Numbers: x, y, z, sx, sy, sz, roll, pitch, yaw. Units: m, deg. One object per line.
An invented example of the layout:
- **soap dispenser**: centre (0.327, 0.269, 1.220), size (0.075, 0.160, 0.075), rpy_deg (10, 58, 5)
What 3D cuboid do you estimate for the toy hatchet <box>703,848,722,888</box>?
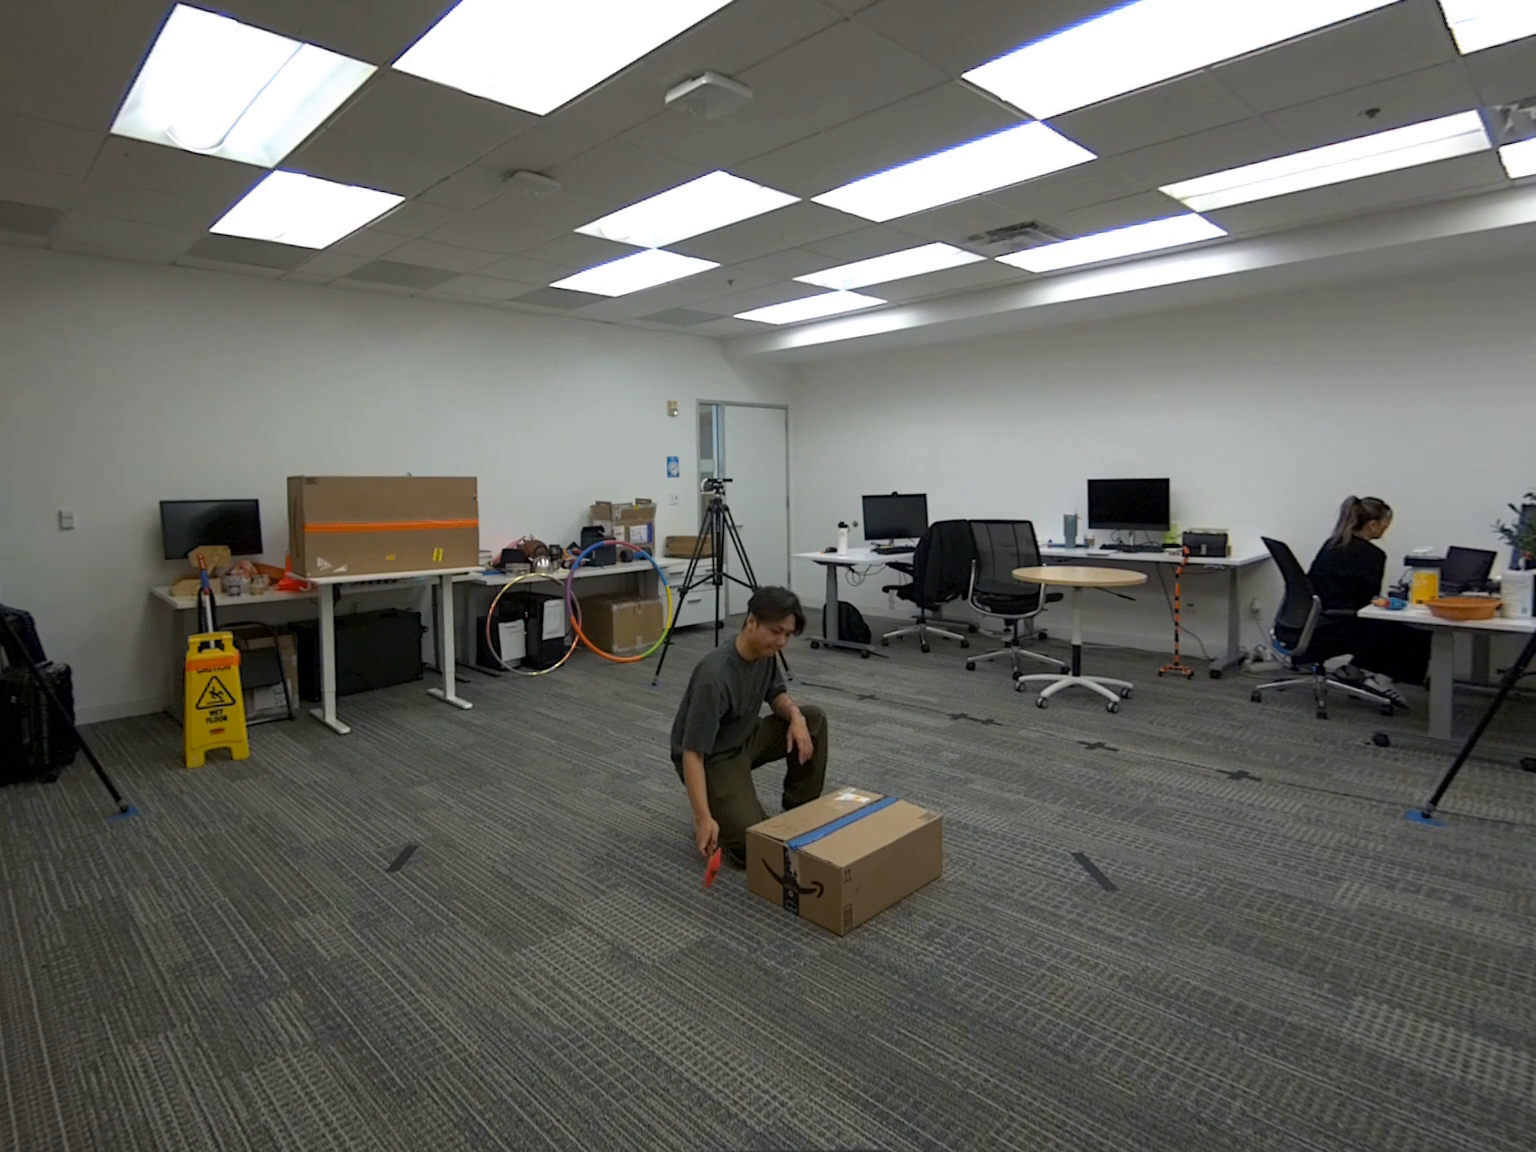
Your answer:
- **toy hatchet**: centre (-0.181, 0.959, 2.839), size (0.029, 0.132, 0.268), rpy_deg (12, -11, -3)
